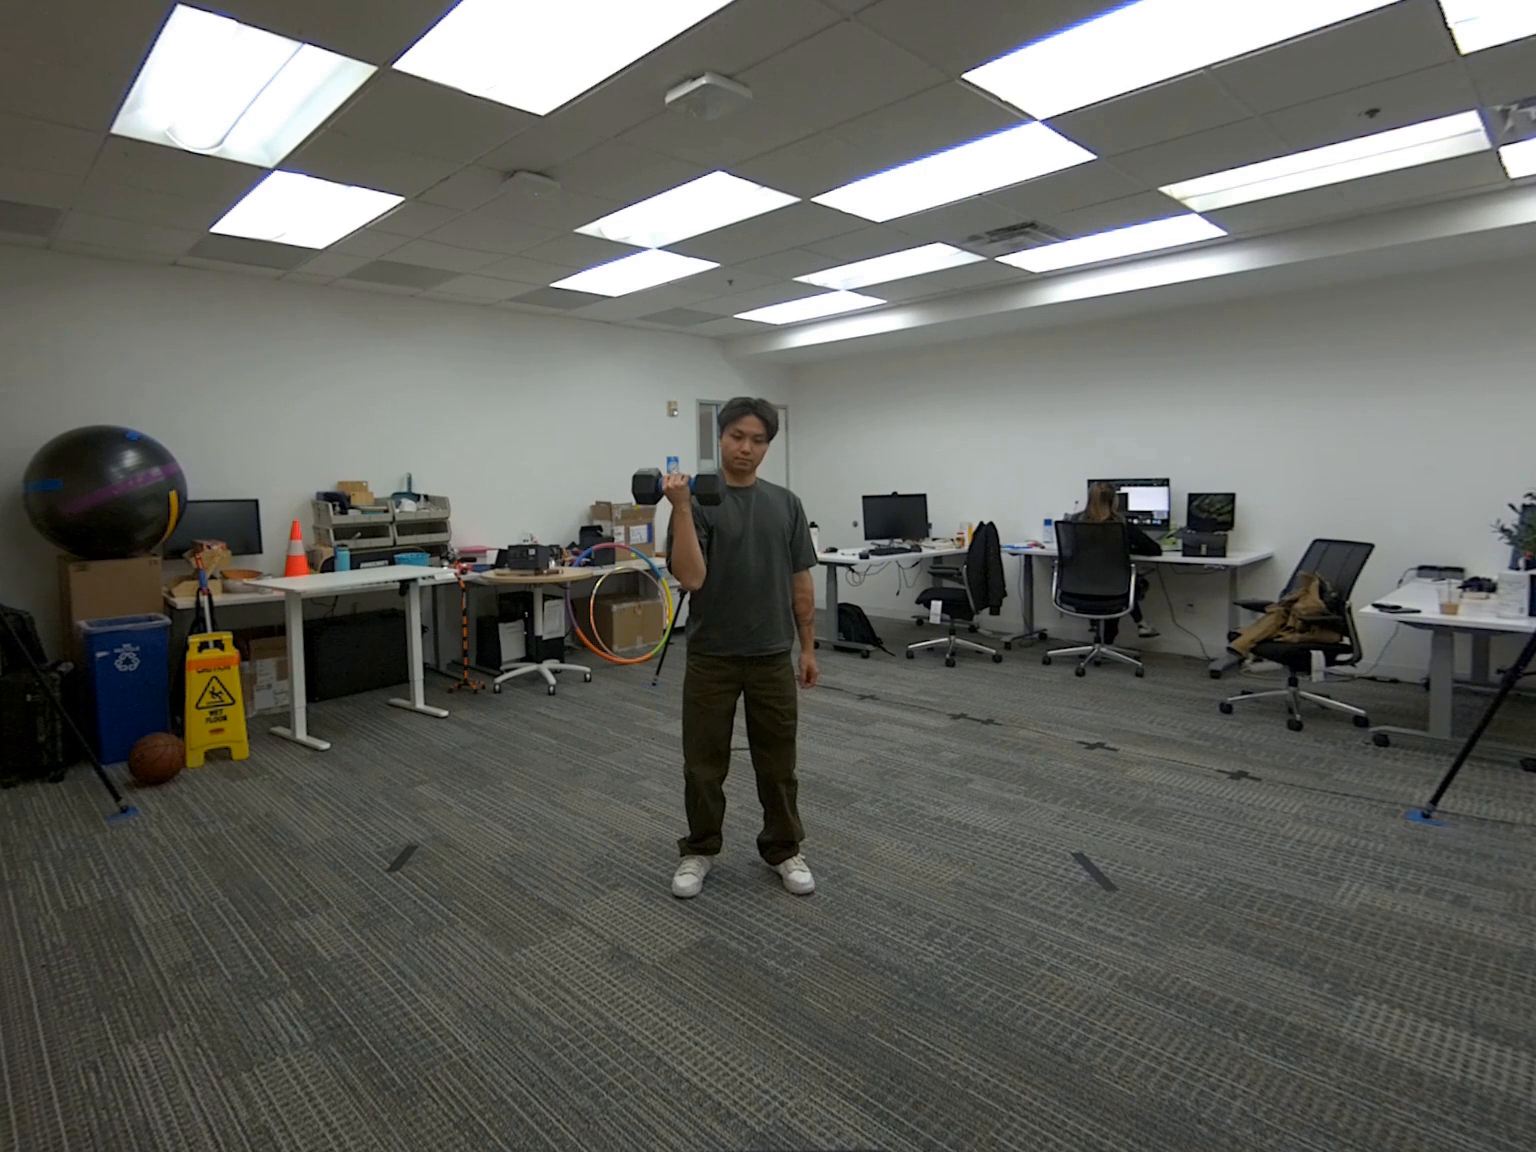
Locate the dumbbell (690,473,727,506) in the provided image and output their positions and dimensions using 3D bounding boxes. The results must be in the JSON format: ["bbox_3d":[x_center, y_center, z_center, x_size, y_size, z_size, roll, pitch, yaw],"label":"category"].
[{"bbox_3d":[-0.288,-0.291,2.725,0.298,0.106,0.124,0,24,14],"label":"dumbbell"}]
